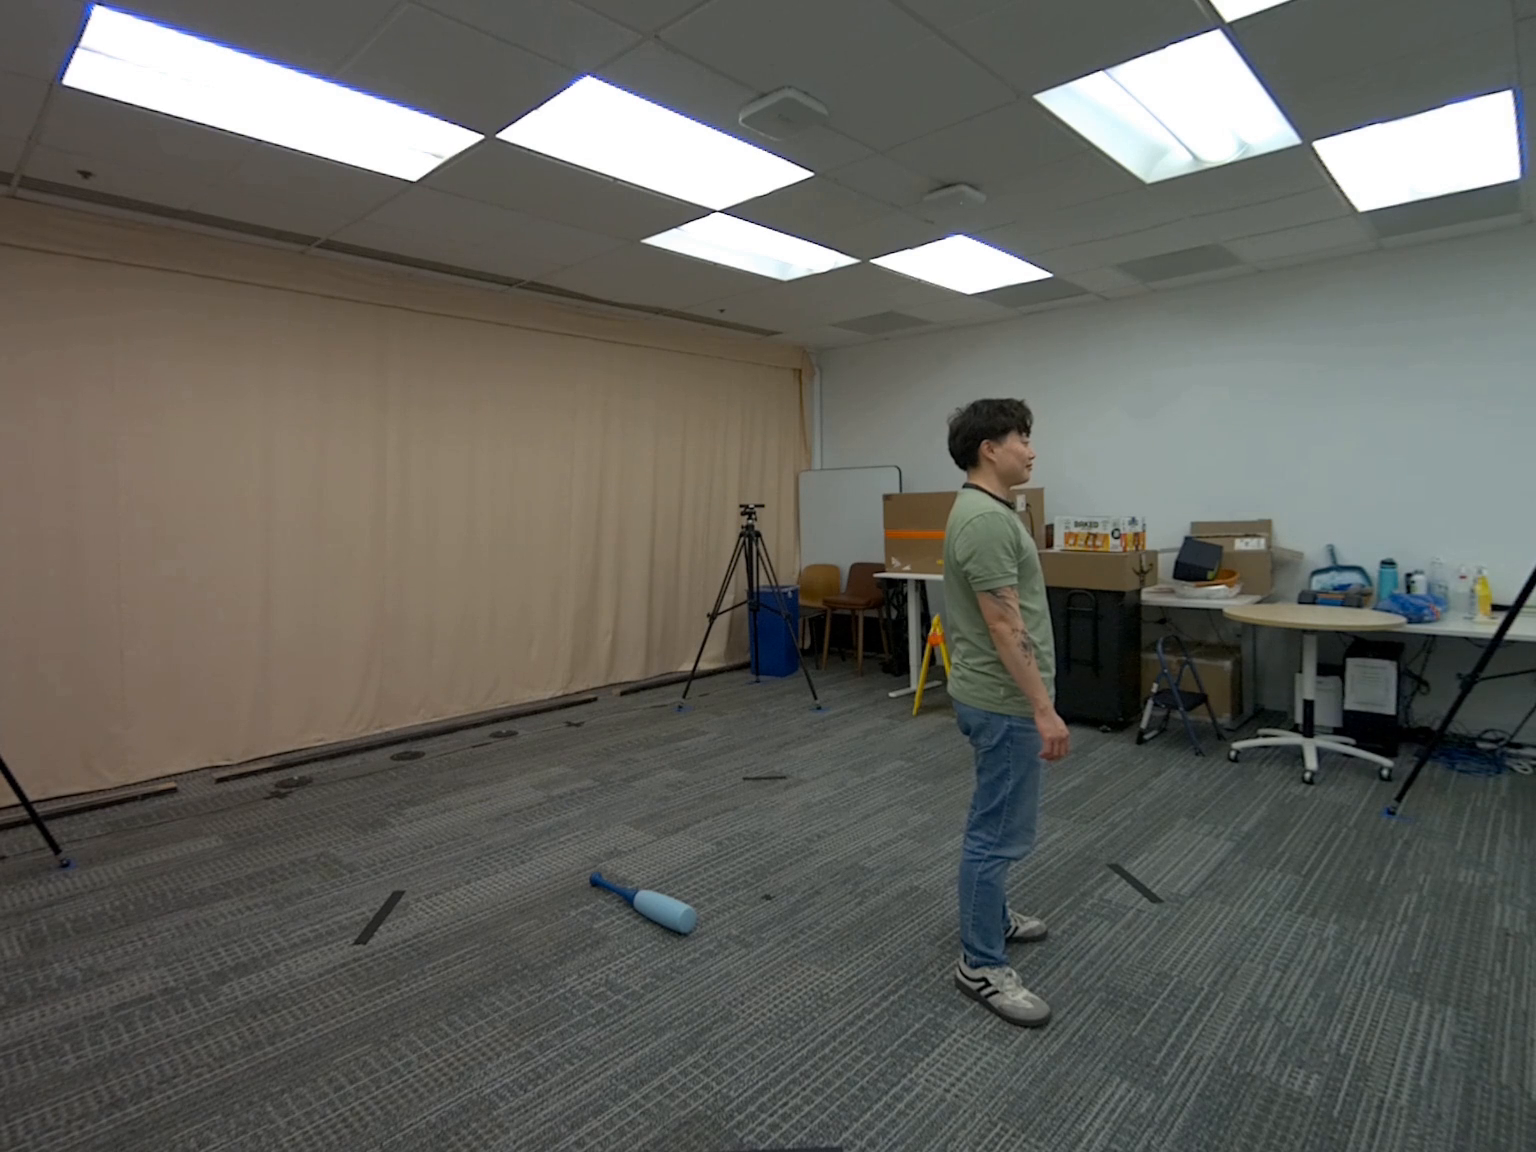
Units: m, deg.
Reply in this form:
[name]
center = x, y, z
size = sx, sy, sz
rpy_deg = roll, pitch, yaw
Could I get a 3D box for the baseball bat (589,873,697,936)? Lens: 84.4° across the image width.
[baseball bat]
center = -0.451, 1.122, 2.912
size = 0.086, 0.089, 0.560
rpy_deg = -5, 2, -45
